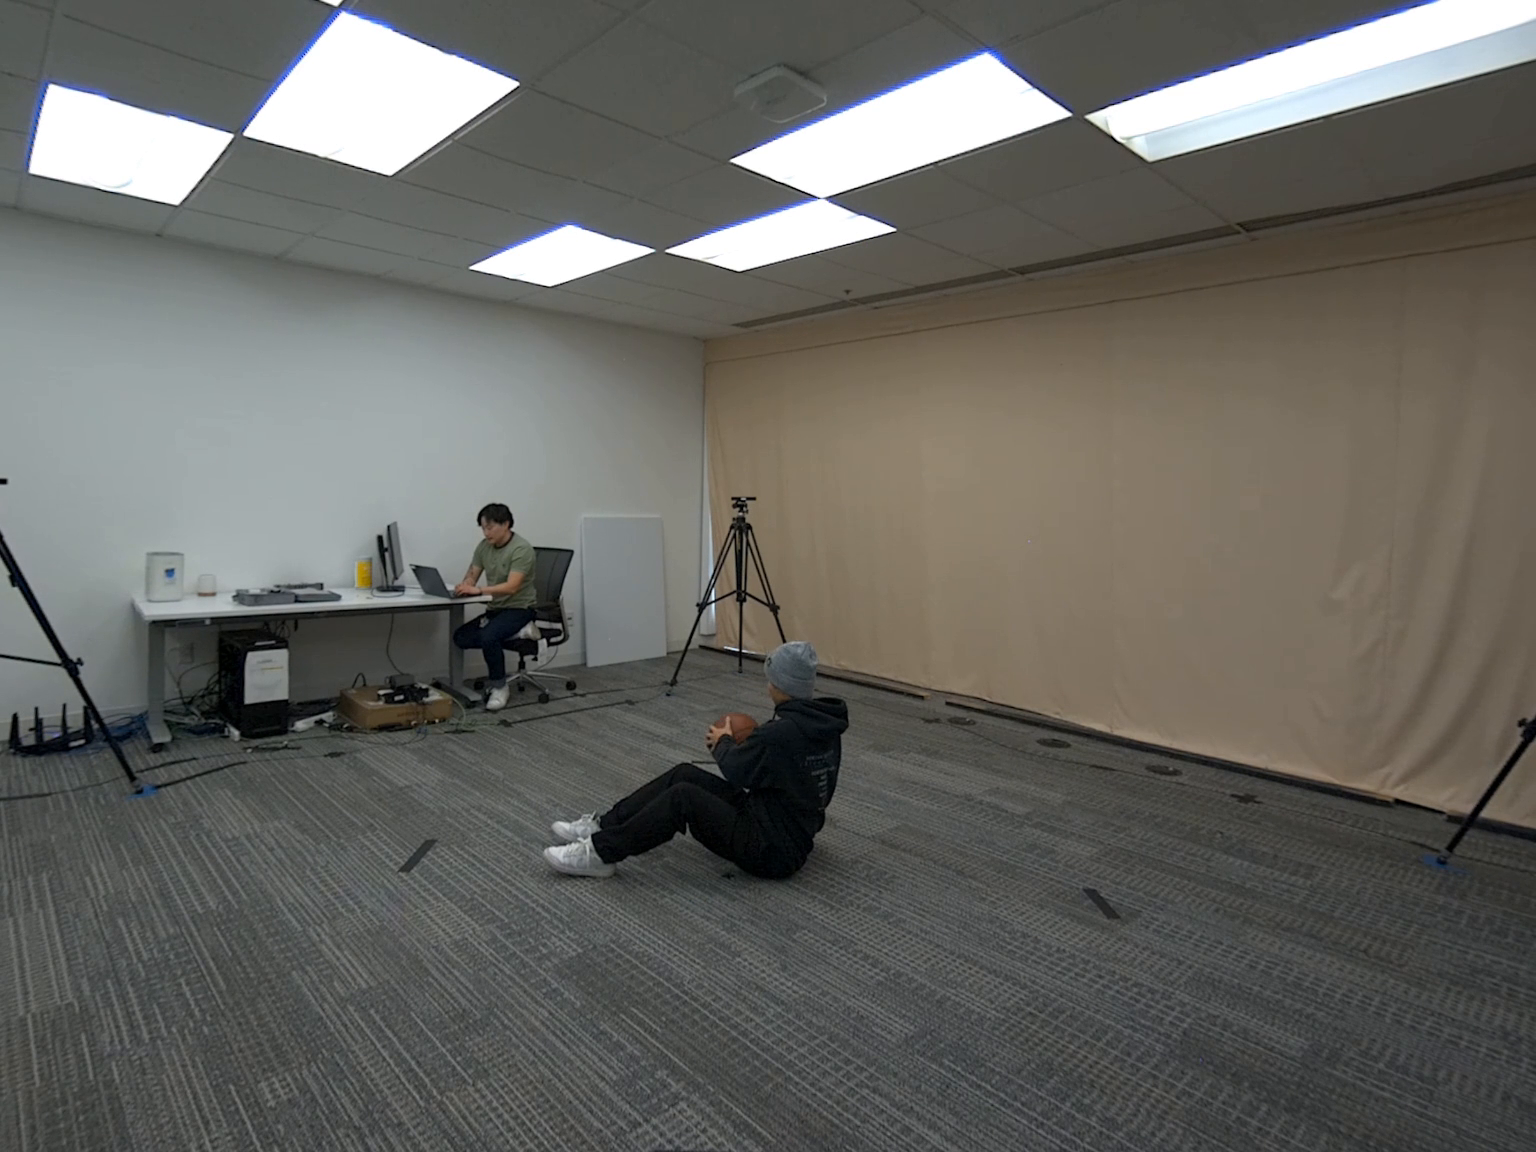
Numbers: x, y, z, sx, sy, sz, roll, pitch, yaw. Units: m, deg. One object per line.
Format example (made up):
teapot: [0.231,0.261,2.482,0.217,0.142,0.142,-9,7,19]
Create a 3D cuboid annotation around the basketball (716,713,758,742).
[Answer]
basketball: [-0.142,0.707,3.596,0.236,0.235,0.237,1,4,-1]
